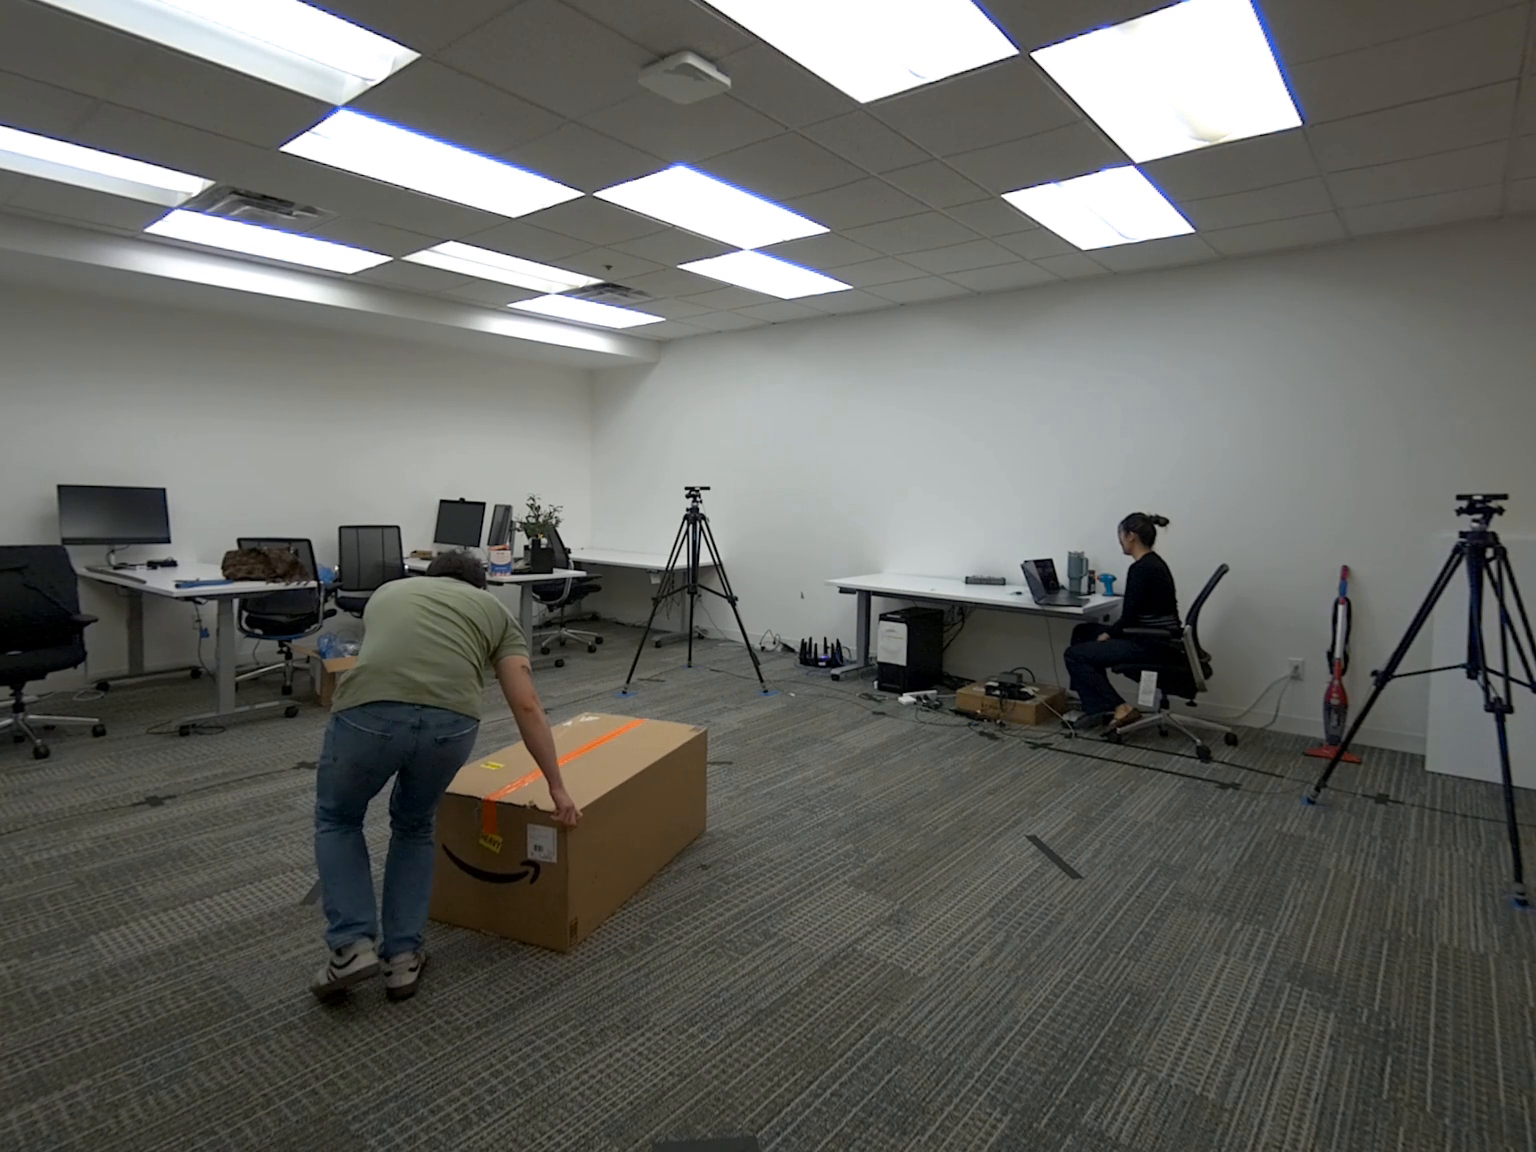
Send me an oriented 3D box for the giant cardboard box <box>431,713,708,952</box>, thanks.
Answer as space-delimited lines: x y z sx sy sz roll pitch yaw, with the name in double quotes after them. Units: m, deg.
-0.694 0.849 3.087 0.590 0.424 1.007 2 6 20 "giant cardboard box"
